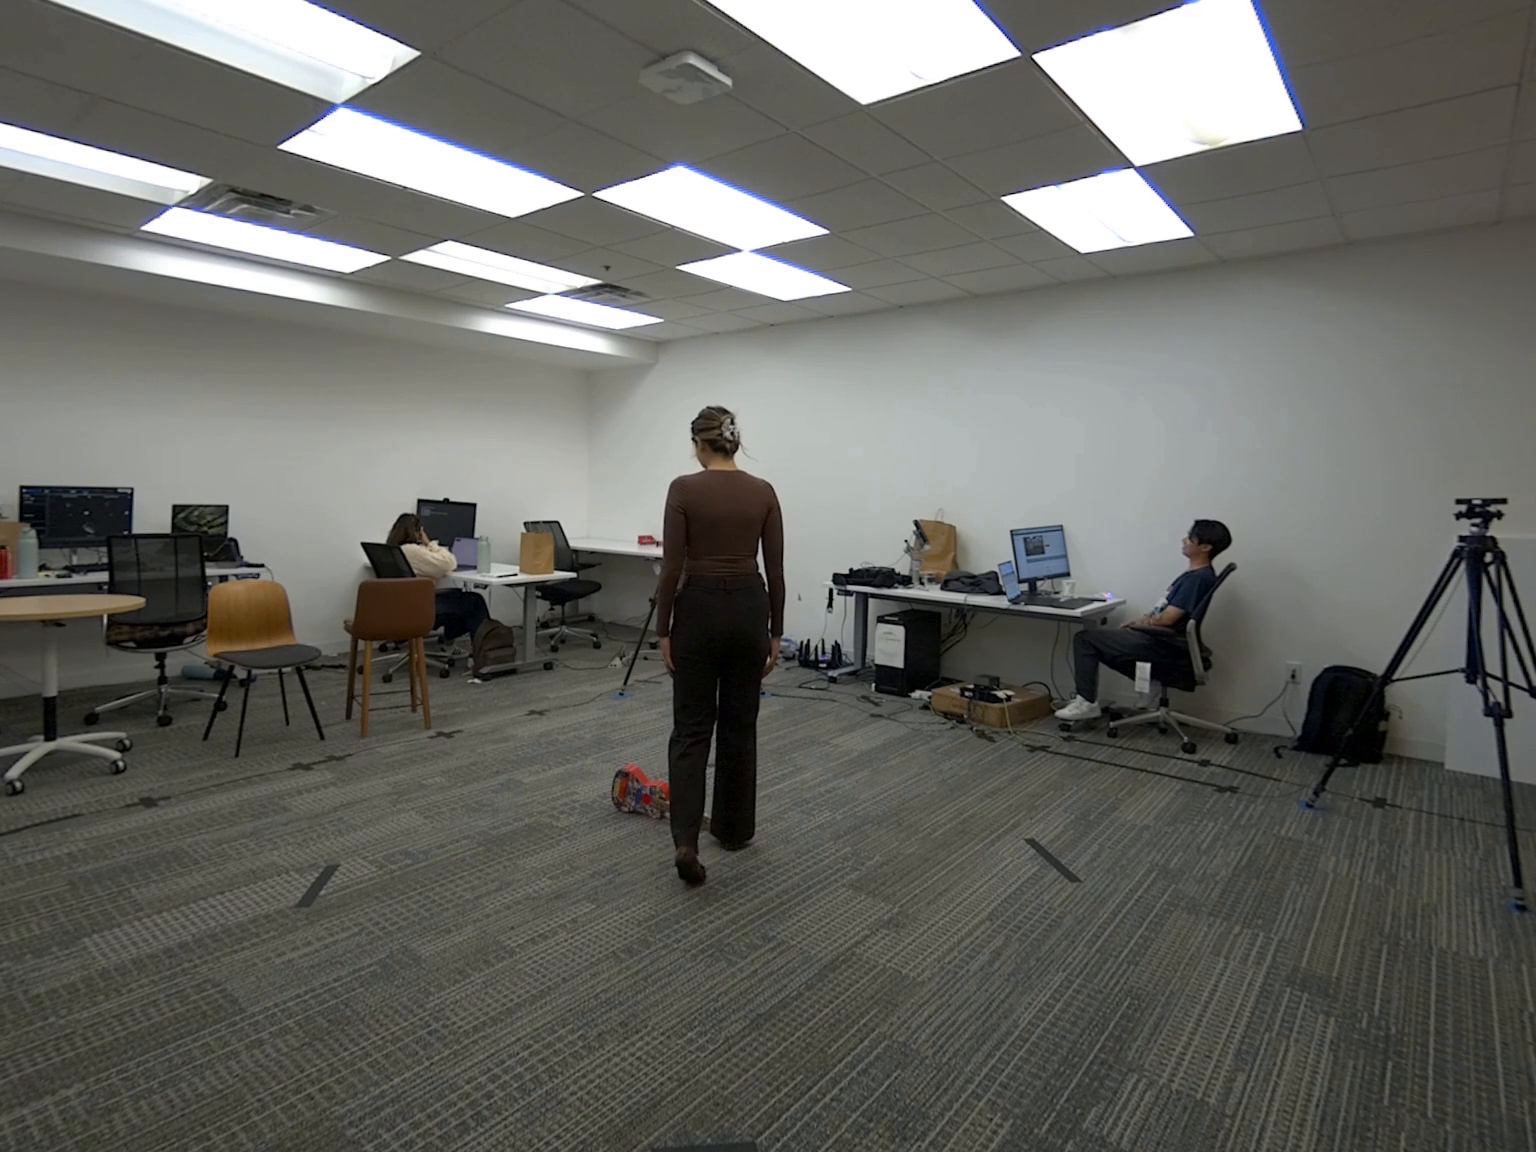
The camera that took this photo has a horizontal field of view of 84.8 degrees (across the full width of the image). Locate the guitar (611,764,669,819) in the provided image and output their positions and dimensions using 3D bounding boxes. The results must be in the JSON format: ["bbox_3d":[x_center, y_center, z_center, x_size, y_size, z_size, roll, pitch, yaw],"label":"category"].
[{"bbox_3d":[-0.456,0.978,3.588,0.511,0.191,0.069,23,14,21],"label":"guitar"}]
